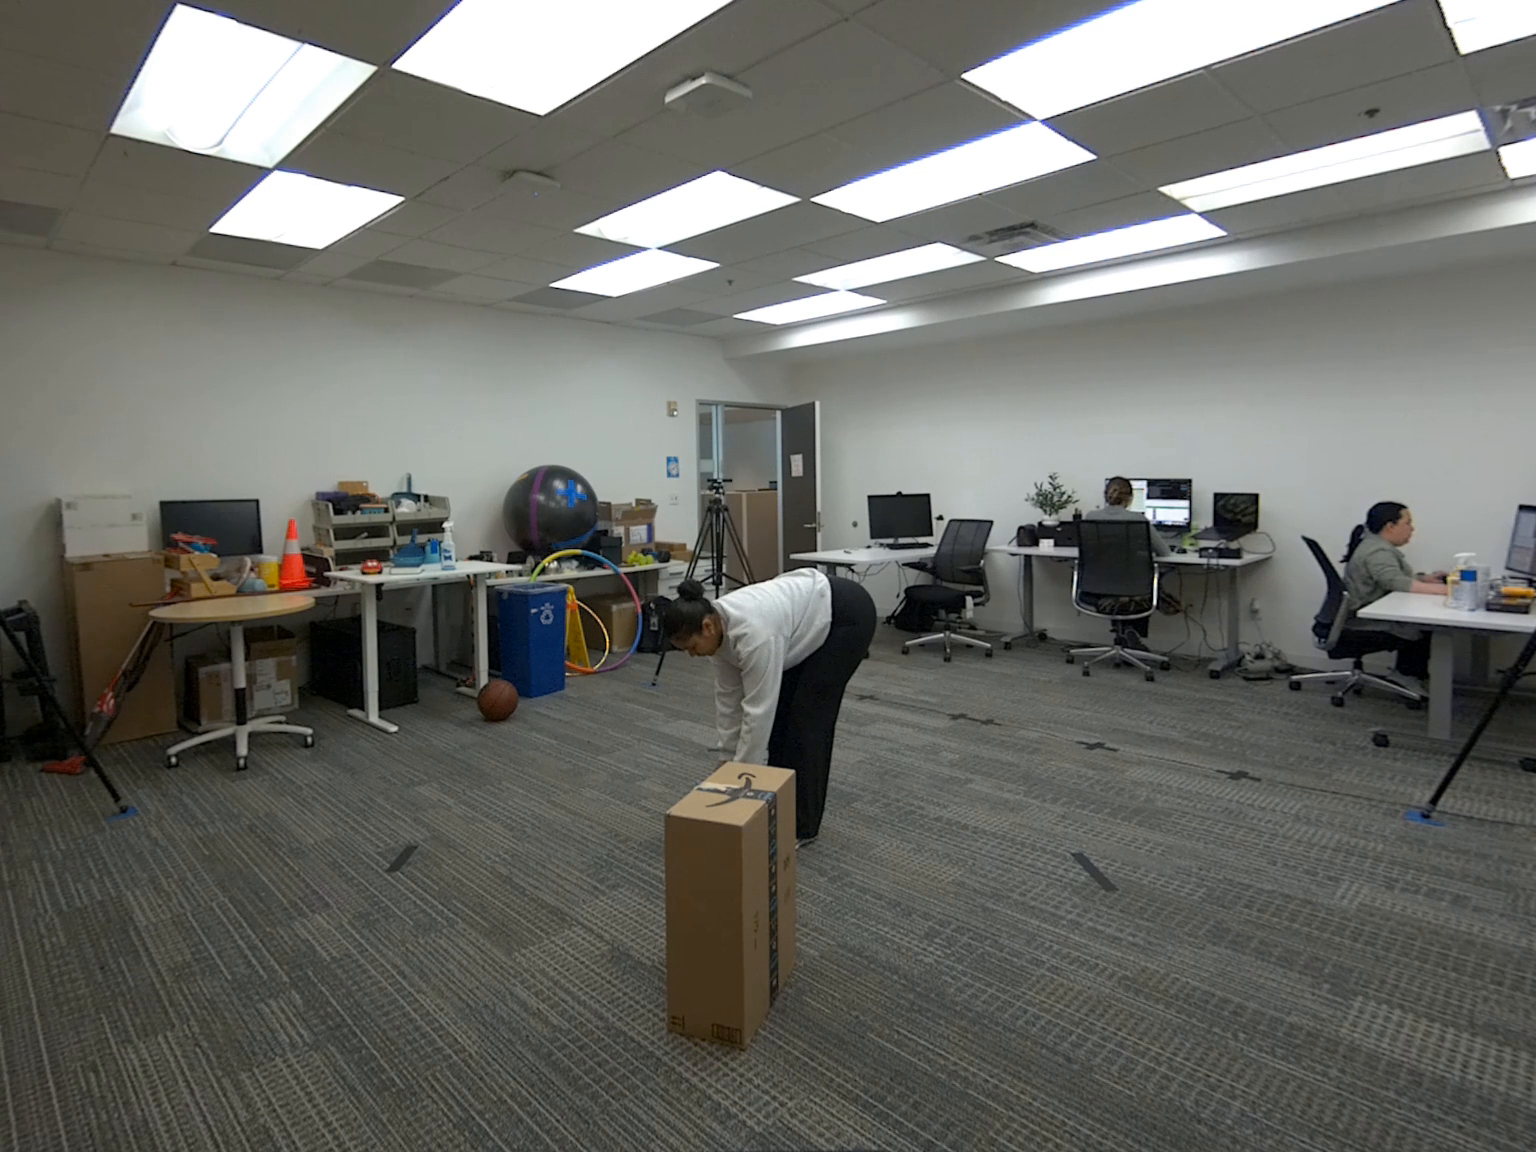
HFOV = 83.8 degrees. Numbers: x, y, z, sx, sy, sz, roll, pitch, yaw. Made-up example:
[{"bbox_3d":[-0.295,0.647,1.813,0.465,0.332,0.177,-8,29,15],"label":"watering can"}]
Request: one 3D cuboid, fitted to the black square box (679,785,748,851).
[{"bbox_3d":[-0.205,0.915,3.265,0.219,0.155,0.226,-1,5,9],"label":"black square box"}]
